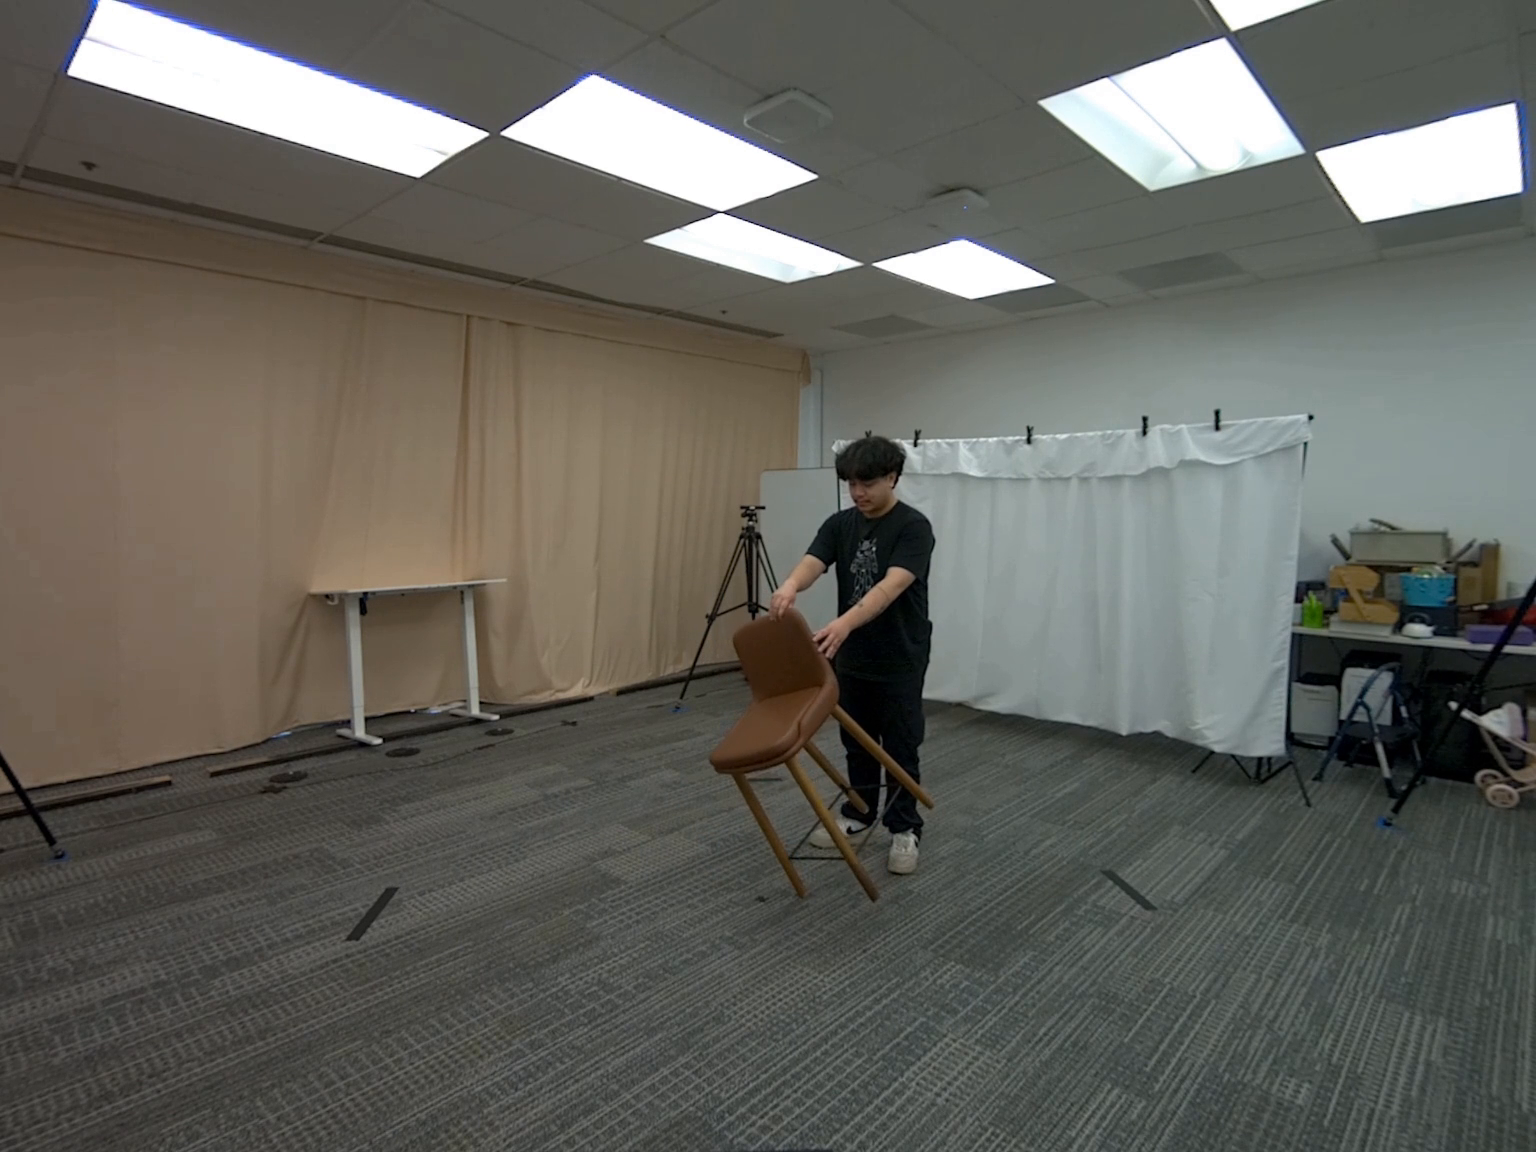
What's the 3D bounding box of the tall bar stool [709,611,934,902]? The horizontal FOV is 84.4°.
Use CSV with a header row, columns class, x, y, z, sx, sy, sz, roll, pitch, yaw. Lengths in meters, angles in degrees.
class,x,y,z,sx,sy,sz,roll,pitch,yaw
tall bar stool,0.116,0.623,2.935,0.461,0.884,0.466,-38,8,-38
